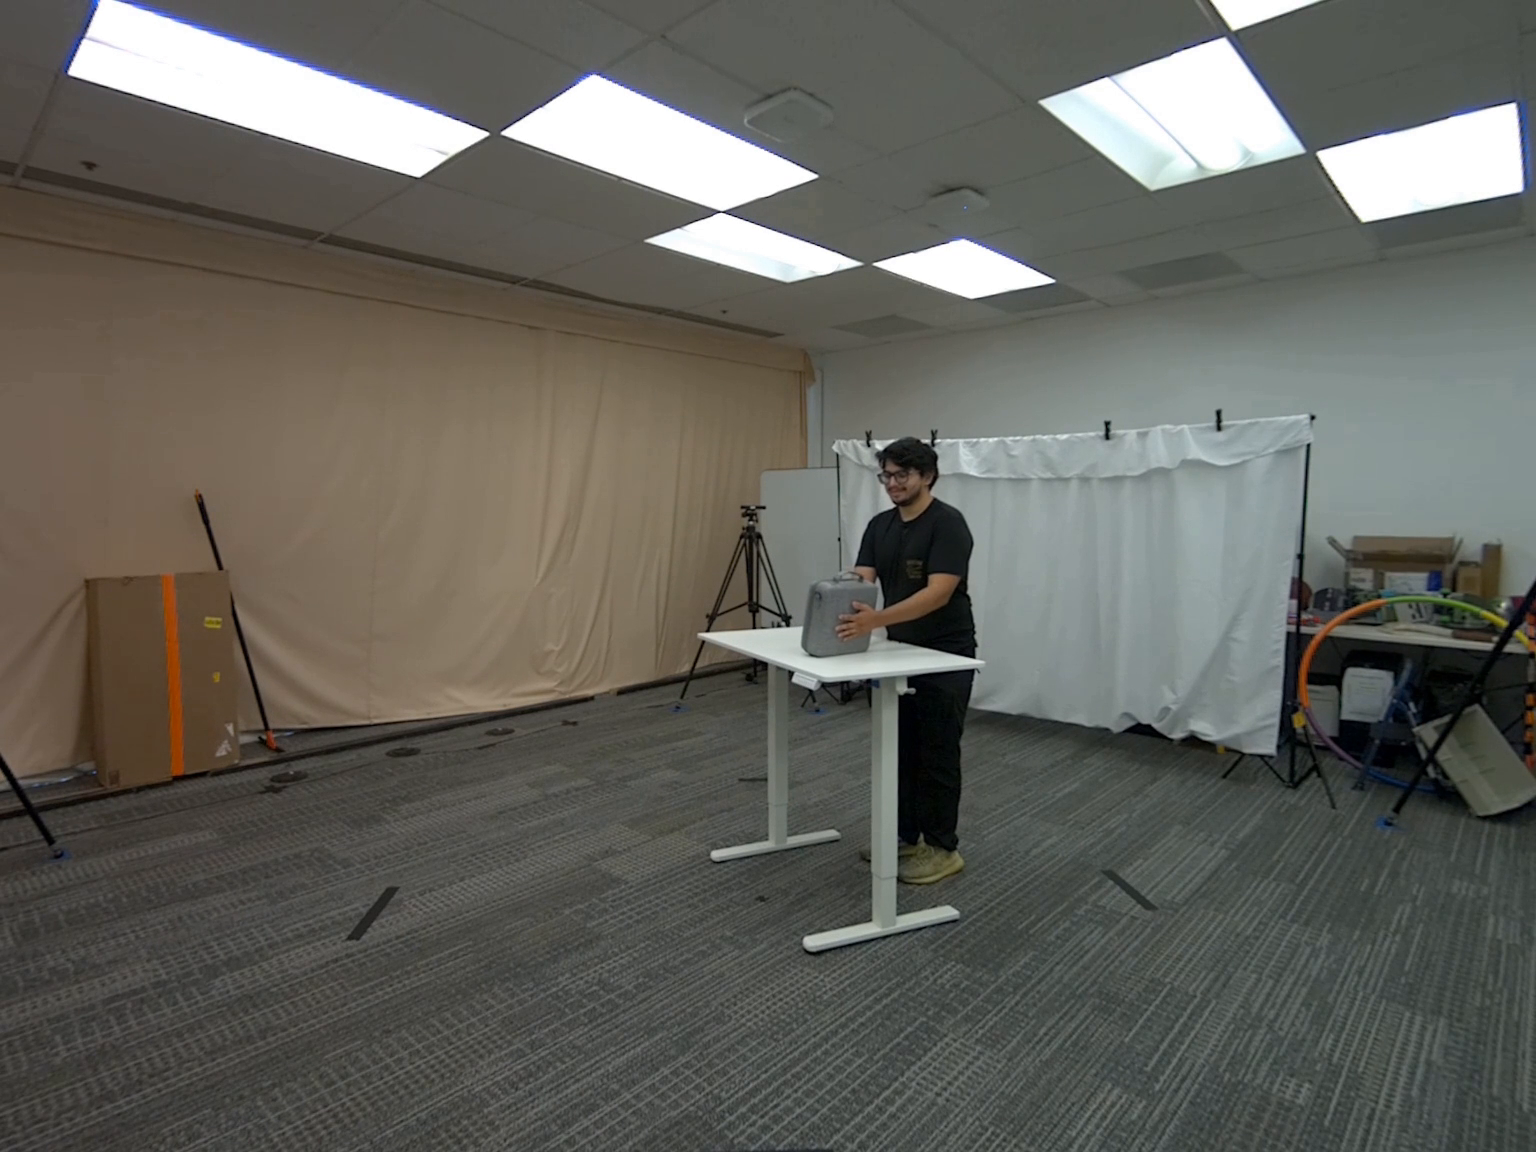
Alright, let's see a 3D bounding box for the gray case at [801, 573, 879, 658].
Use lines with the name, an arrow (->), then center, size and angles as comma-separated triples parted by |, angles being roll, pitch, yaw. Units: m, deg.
gray case -> 0.250, 0.137, 2.867 | 0.249, 0.259, 0.108 | -1, 13, -34
